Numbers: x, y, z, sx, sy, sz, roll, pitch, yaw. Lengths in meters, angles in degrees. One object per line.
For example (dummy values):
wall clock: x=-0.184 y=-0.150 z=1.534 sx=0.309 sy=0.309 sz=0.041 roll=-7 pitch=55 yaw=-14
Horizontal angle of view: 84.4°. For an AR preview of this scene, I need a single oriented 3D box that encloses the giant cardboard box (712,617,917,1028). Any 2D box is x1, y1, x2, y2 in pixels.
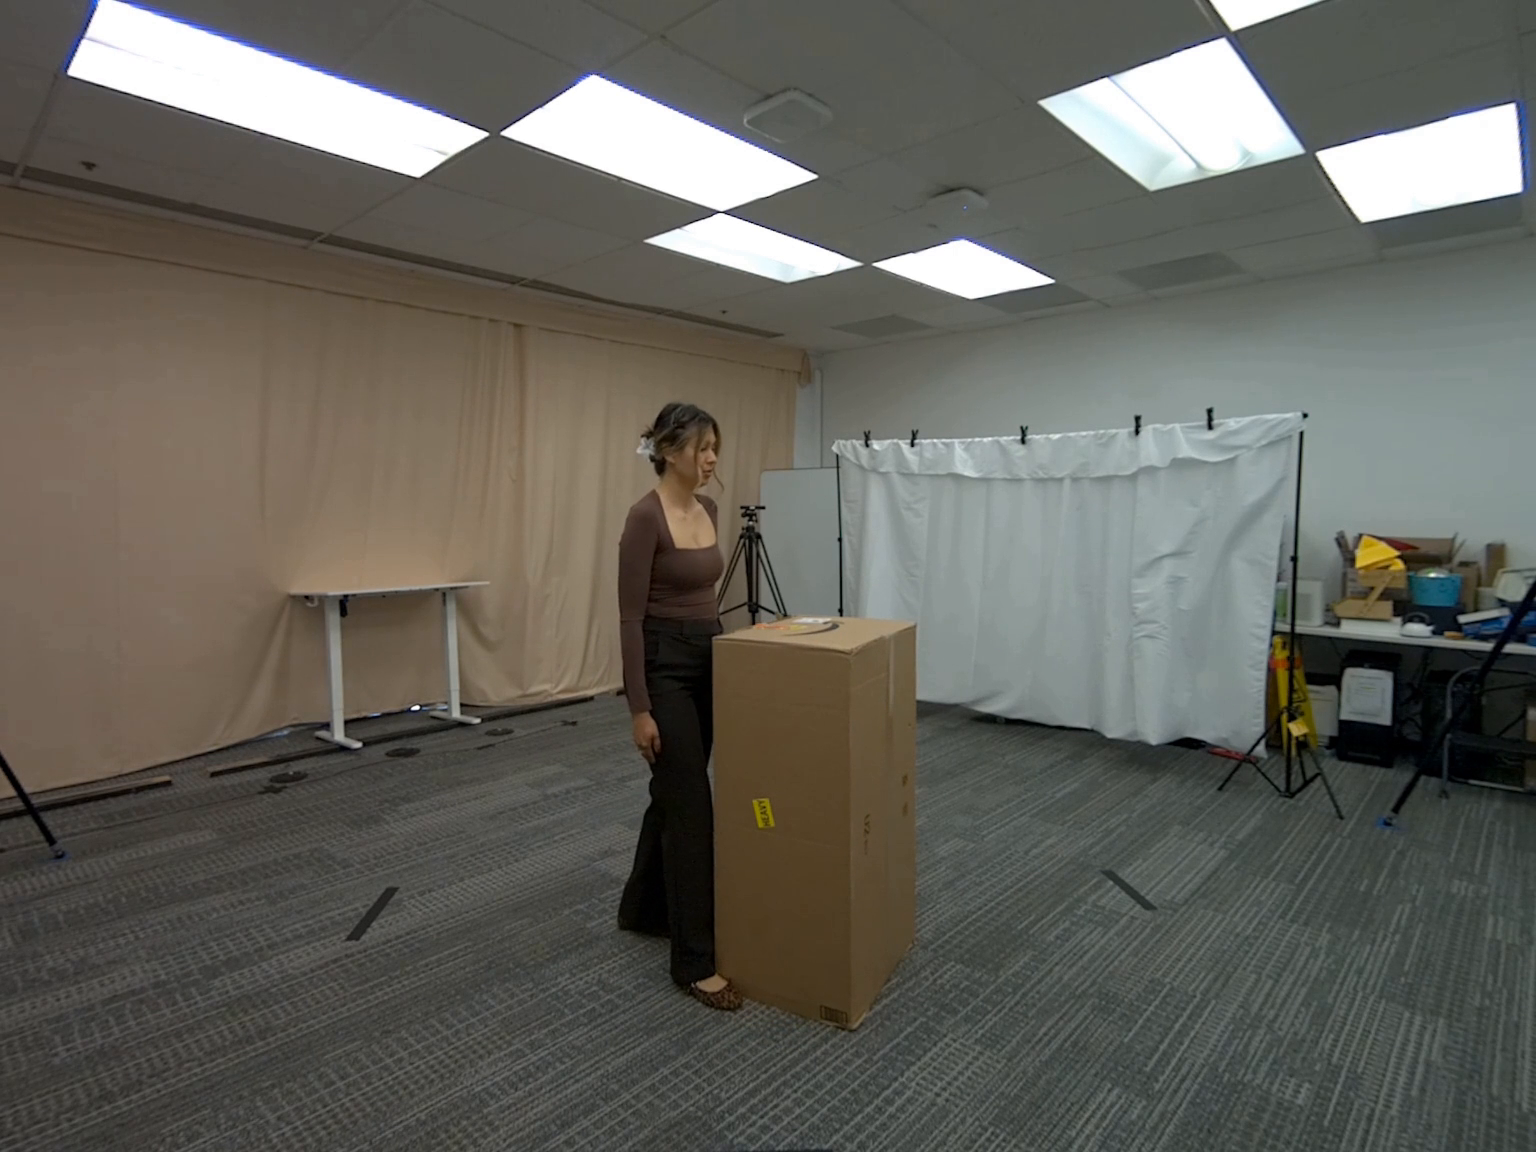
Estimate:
giant cardboard box: x=0.164 y=0.670 z=2.549 sx=0.459 sy=1.025 sz=0.568 roll=1 pitch=3 yaw=29
